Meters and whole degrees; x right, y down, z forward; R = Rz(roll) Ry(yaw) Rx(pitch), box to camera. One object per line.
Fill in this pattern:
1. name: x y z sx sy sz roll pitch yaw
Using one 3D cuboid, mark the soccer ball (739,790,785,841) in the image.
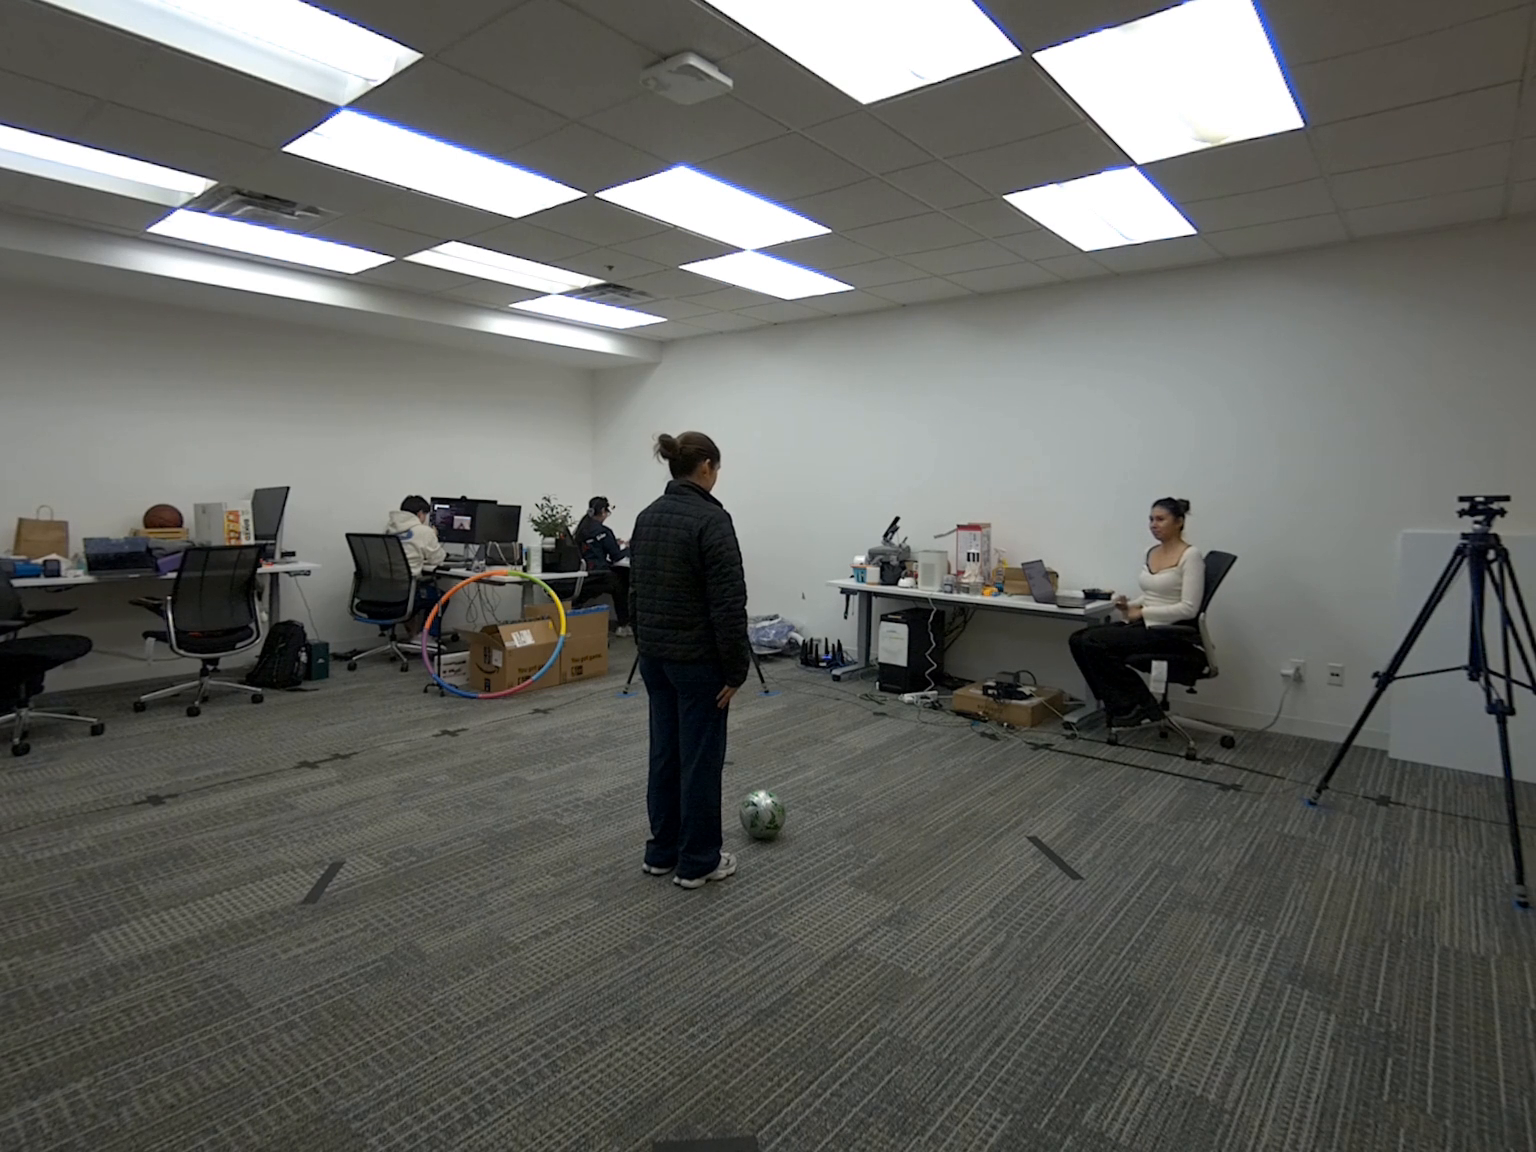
1. soccer ball: -0.031 0.946 3.400 0.187 0.187 0.188 1 4 -2
